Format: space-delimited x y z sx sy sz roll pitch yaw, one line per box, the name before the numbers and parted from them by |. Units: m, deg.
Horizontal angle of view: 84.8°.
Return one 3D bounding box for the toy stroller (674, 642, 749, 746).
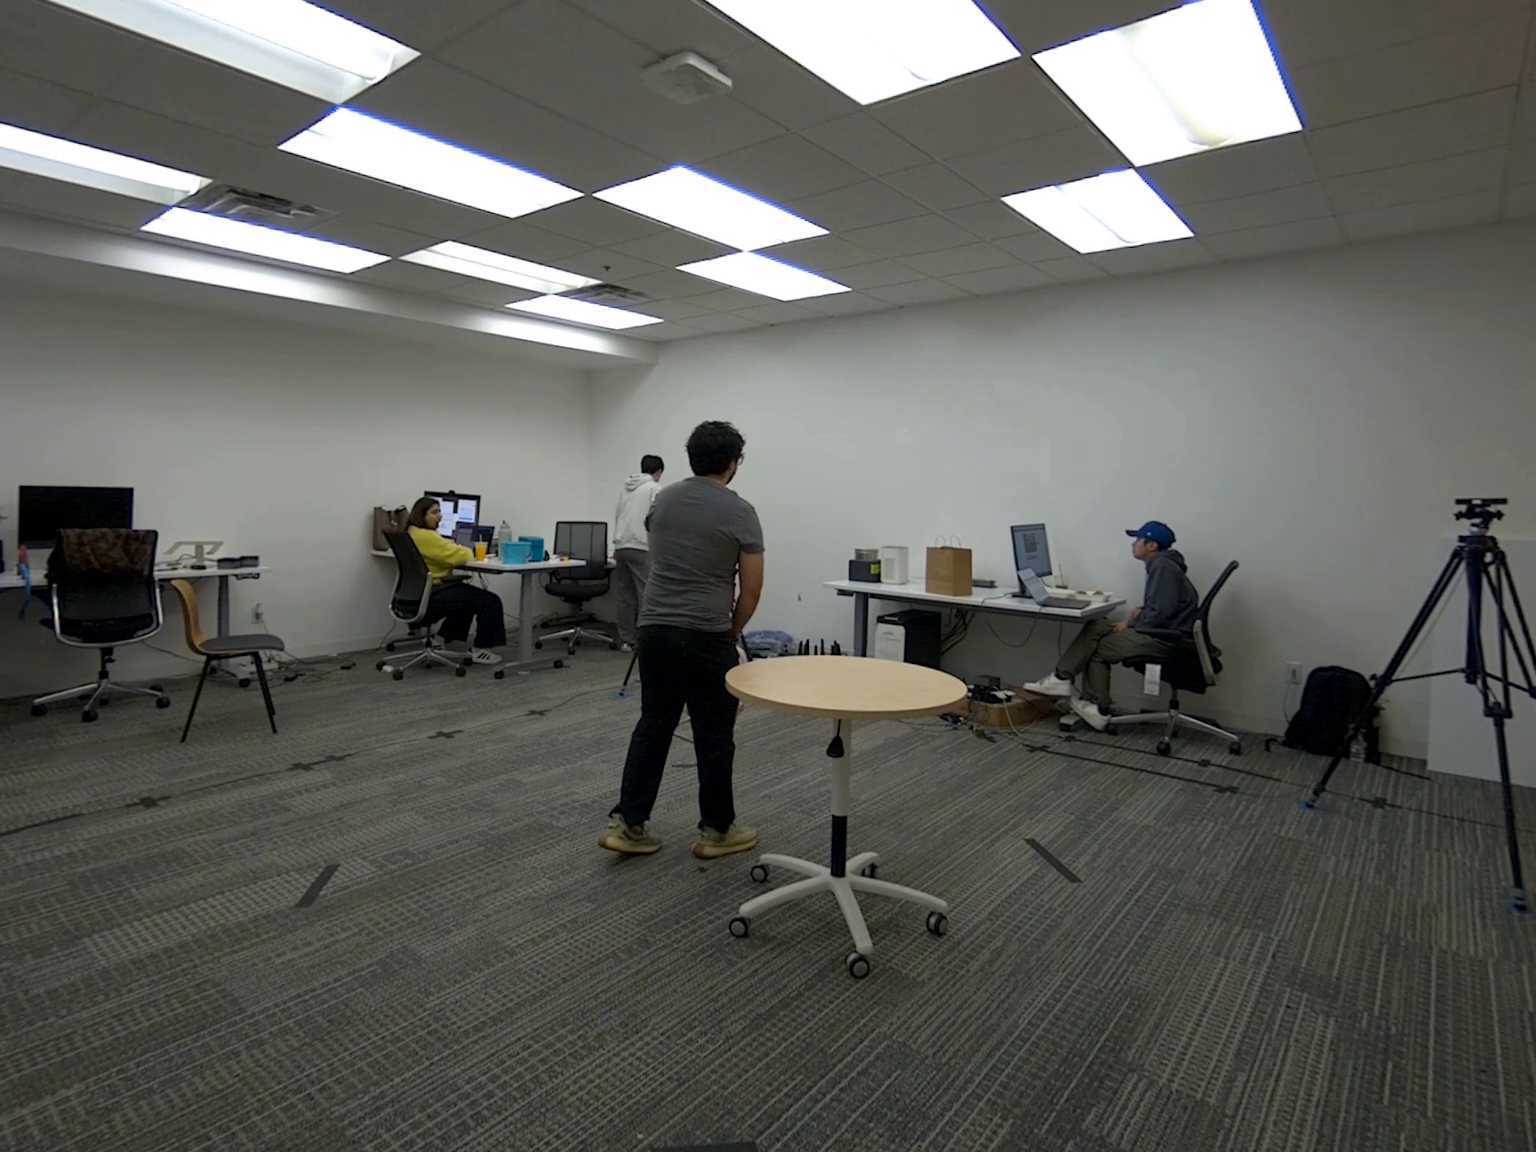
toy stroller | -0.246 0.512 3.529 0.291 0.536 0.329 14 -4 30
